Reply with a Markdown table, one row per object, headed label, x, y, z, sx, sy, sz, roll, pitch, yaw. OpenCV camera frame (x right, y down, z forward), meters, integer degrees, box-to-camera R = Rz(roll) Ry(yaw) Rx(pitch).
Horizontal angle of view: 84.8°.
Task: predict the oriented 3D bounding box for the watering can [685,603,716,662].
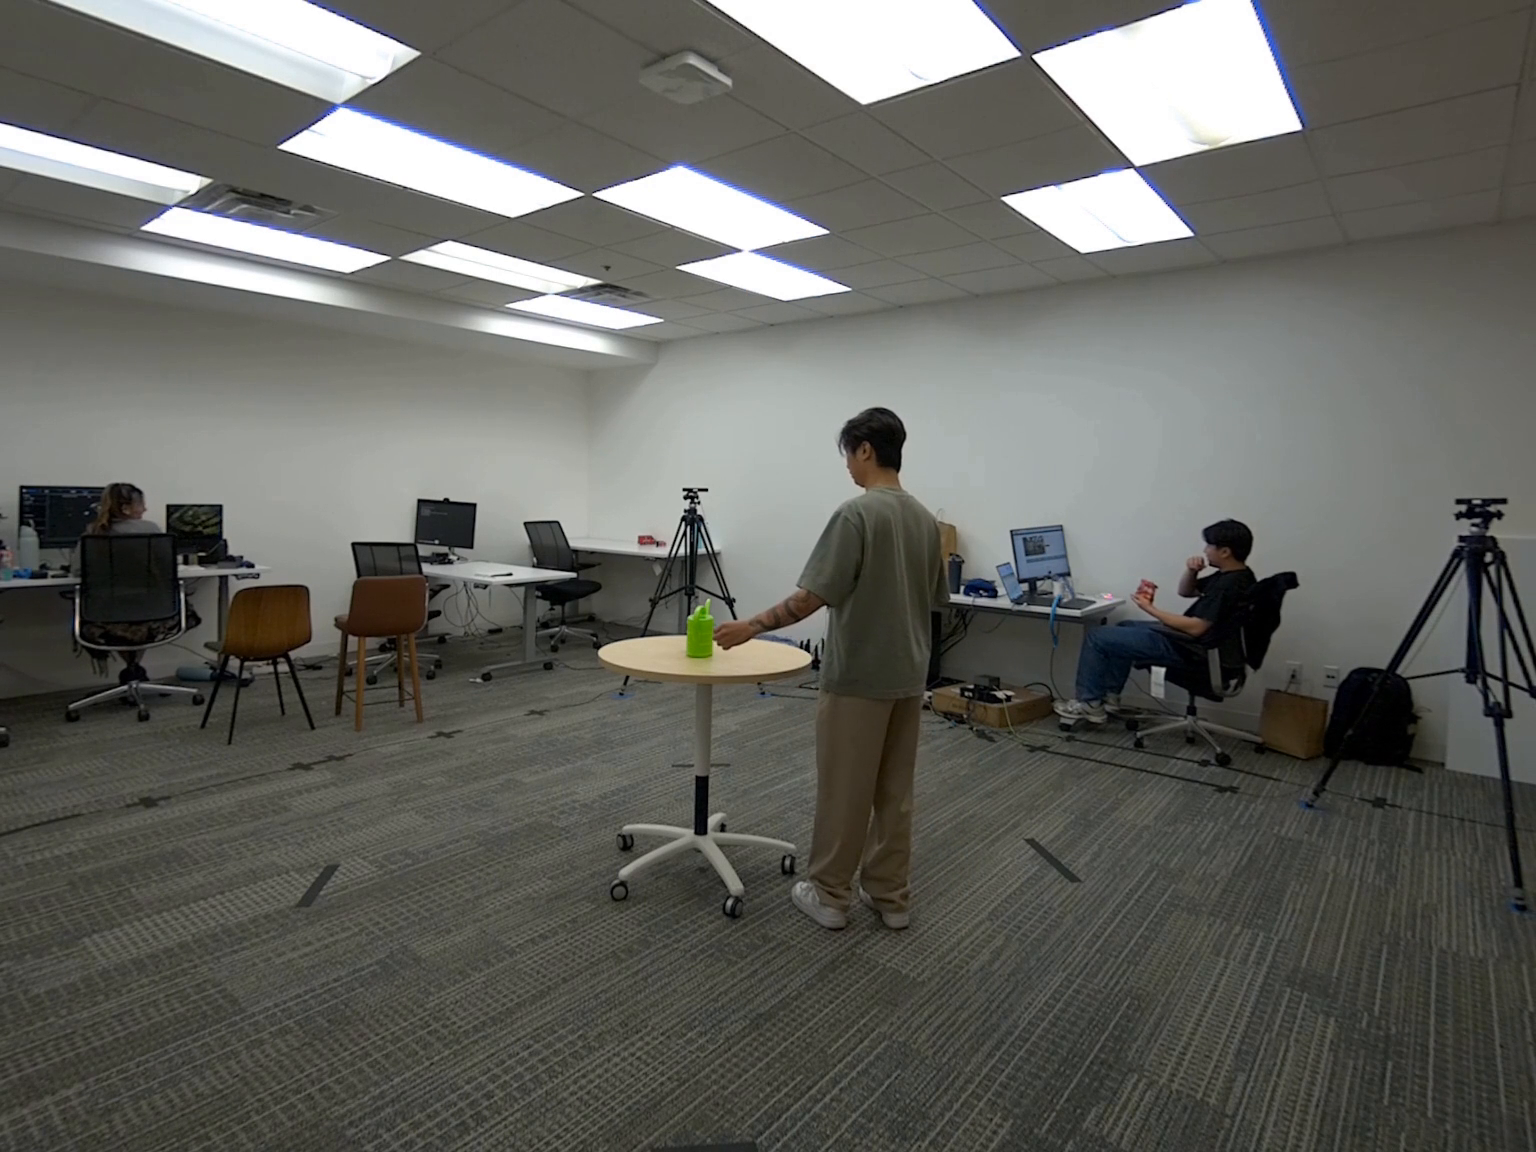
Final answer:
| label | x | y | z | sx | sy | sz | roll | pitch | yaw |
| --- | --- | --- | --- | --- | --- | --- | --- | --- | --- |
| watering can | -0.235 | 0.189 | 3.061 | 0.100 | 0.176 | 0.272 | 2 | 6 | 24 |
